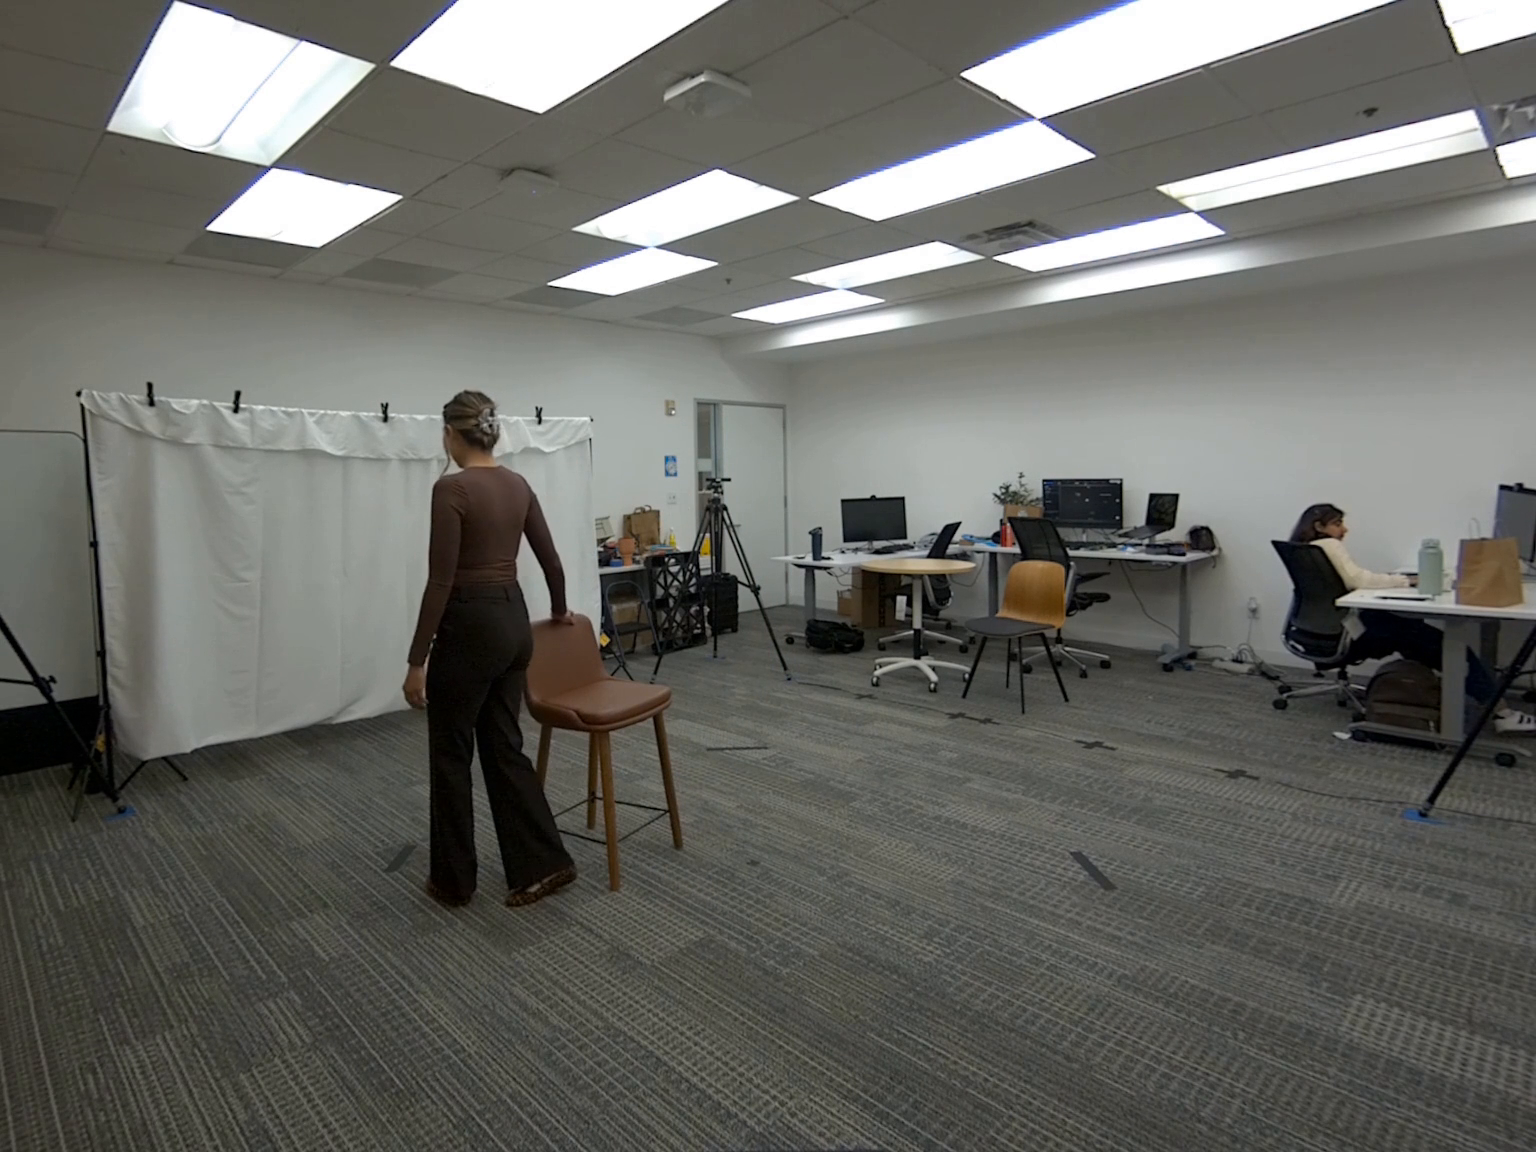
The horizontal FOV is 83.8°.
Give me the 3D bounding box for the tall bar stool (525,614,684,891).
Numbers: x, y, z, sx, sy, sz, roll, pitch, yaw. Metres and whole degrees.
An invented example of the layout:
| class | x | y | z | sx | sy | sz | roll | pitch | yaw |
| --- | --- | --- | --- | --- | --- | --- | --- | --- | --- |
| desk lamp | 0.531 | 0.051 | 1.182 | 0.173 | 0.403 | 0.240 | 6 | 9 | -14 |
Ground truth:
| class | x | y | z | sx | sy | sz | roll | pitch | yaw |
| --- | --- | --- | --- | --- | --- | --- | --- | --- | --- |
| tall bar stool | -0.625 | 0.607 | 3.177 | 0.480 | 0.888 | 0.446 | -1 | 3 | 31 |
